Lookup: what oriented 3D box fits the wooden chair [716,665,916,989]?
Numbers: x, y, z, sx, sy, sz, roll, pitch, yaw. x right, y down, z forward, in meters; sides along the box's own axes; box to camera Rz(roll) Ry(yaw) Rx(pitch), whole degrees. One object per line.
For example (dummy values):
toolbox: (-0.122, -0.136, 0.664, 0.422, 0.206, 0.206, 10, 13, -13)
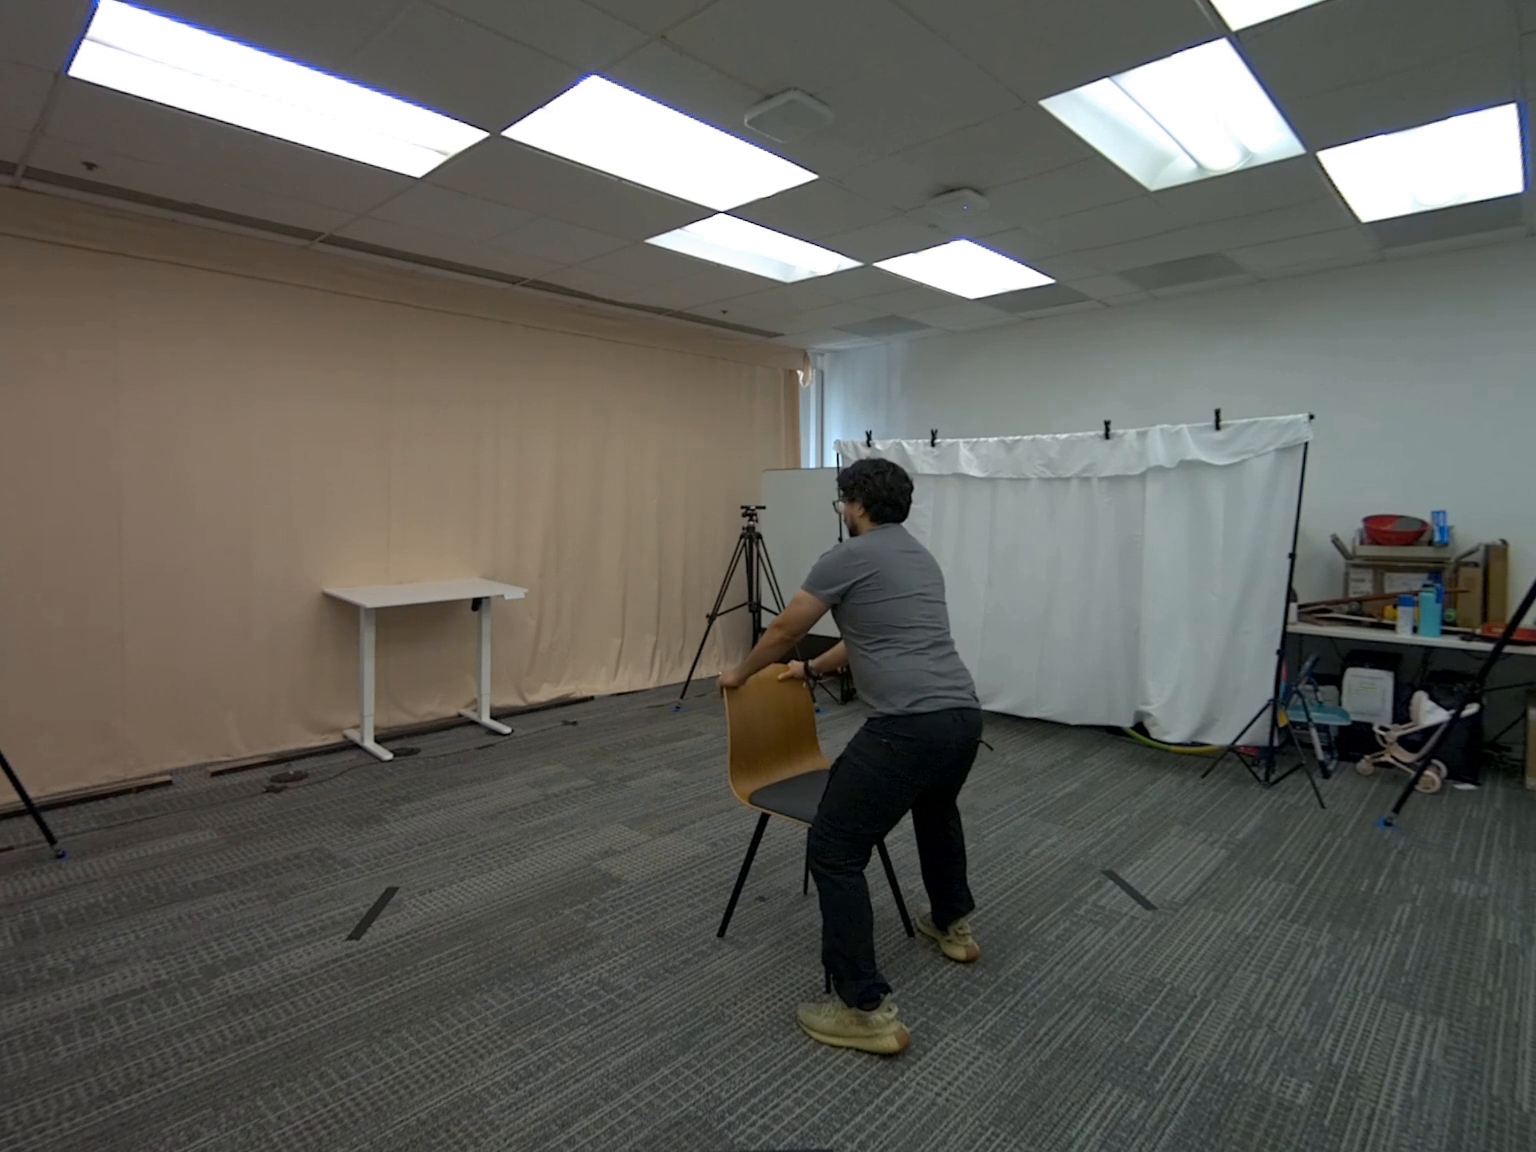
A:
wooden chair: (0.160, 0.742, 2.684, 0.539, 0.877, 0.463, -3, 0, 44)
